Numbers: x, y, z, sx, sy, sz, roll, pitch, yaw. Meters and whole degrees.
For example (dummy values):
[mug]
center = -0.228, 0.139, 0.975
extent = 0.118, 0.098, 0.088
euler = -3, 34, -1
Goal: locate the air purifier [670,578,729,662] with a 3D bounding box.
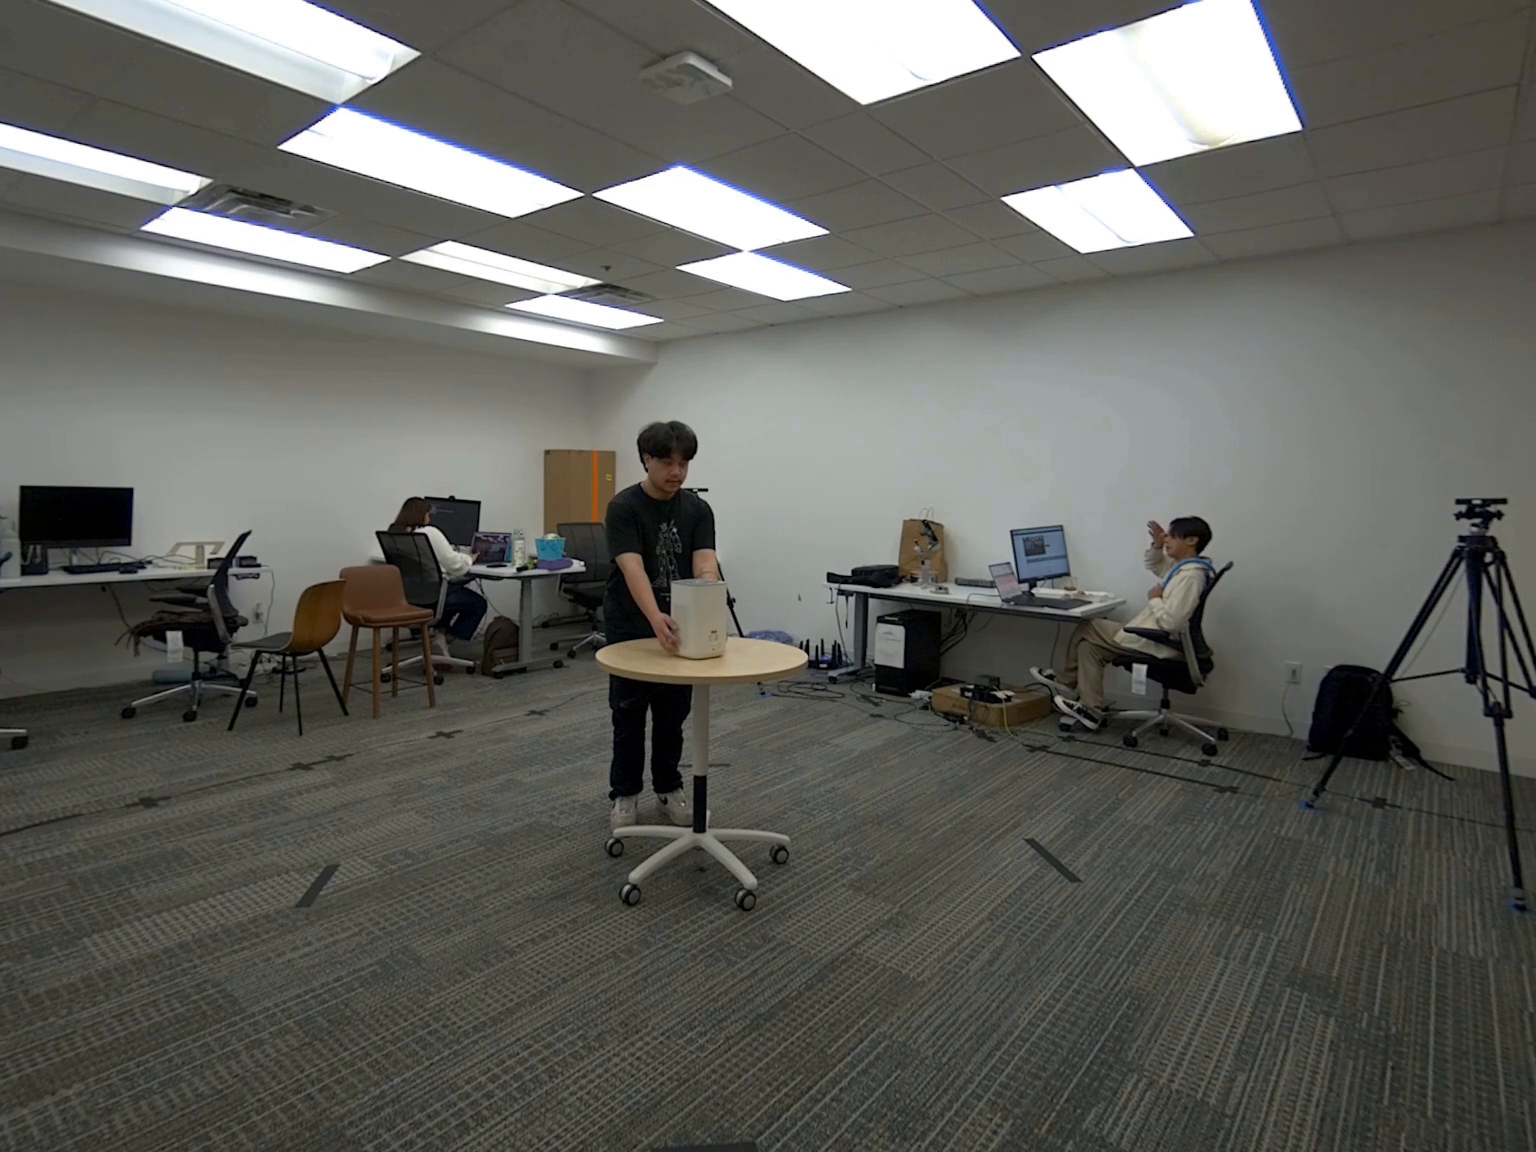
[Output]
[air purifier]
center = -0.263, 0.145, 3.047
extent = 0.177, 0.265, 0.166
euler = 1, 3, 43
